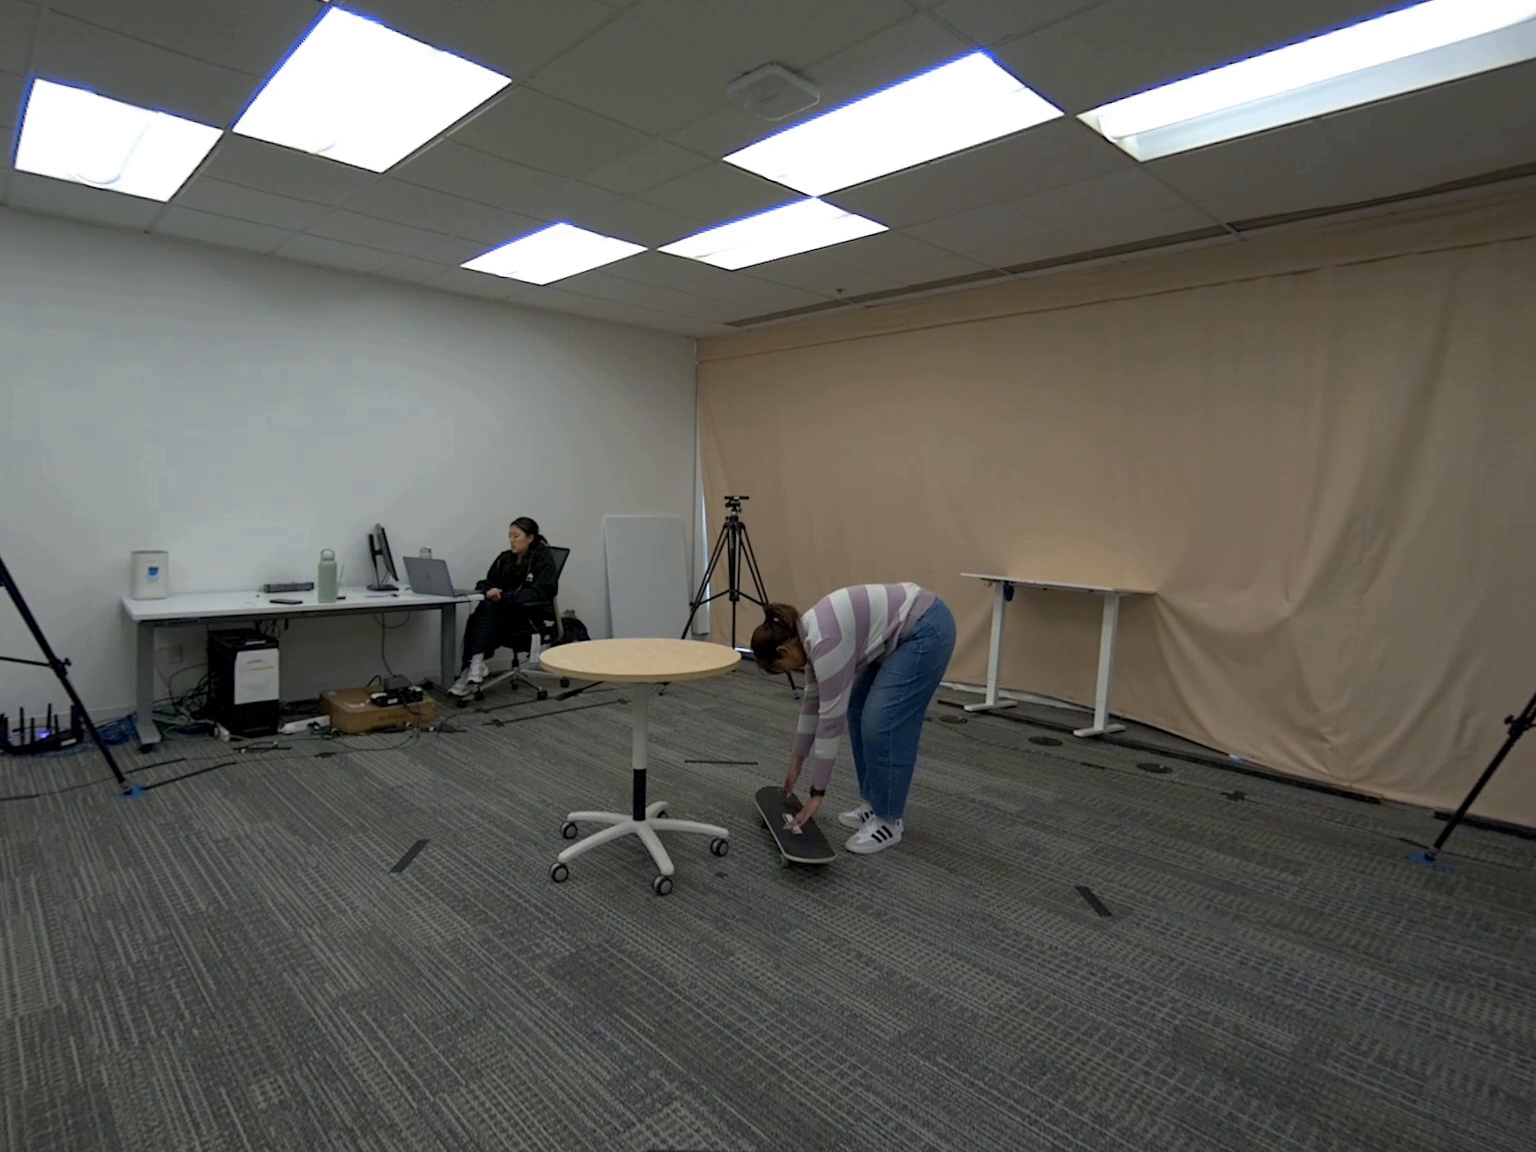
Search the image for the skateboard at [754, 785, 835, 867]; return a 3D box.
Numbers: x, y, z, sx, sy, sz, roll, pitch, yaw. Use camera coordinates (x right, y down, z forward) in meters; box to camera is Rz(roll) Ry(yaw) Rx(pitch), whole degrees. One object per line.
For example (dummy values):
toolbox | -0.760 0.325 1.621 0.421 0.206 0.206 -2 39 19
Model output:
skateboard | 0.086 1.023 3.386 0.192 0.110 0.794 0 5 -11
